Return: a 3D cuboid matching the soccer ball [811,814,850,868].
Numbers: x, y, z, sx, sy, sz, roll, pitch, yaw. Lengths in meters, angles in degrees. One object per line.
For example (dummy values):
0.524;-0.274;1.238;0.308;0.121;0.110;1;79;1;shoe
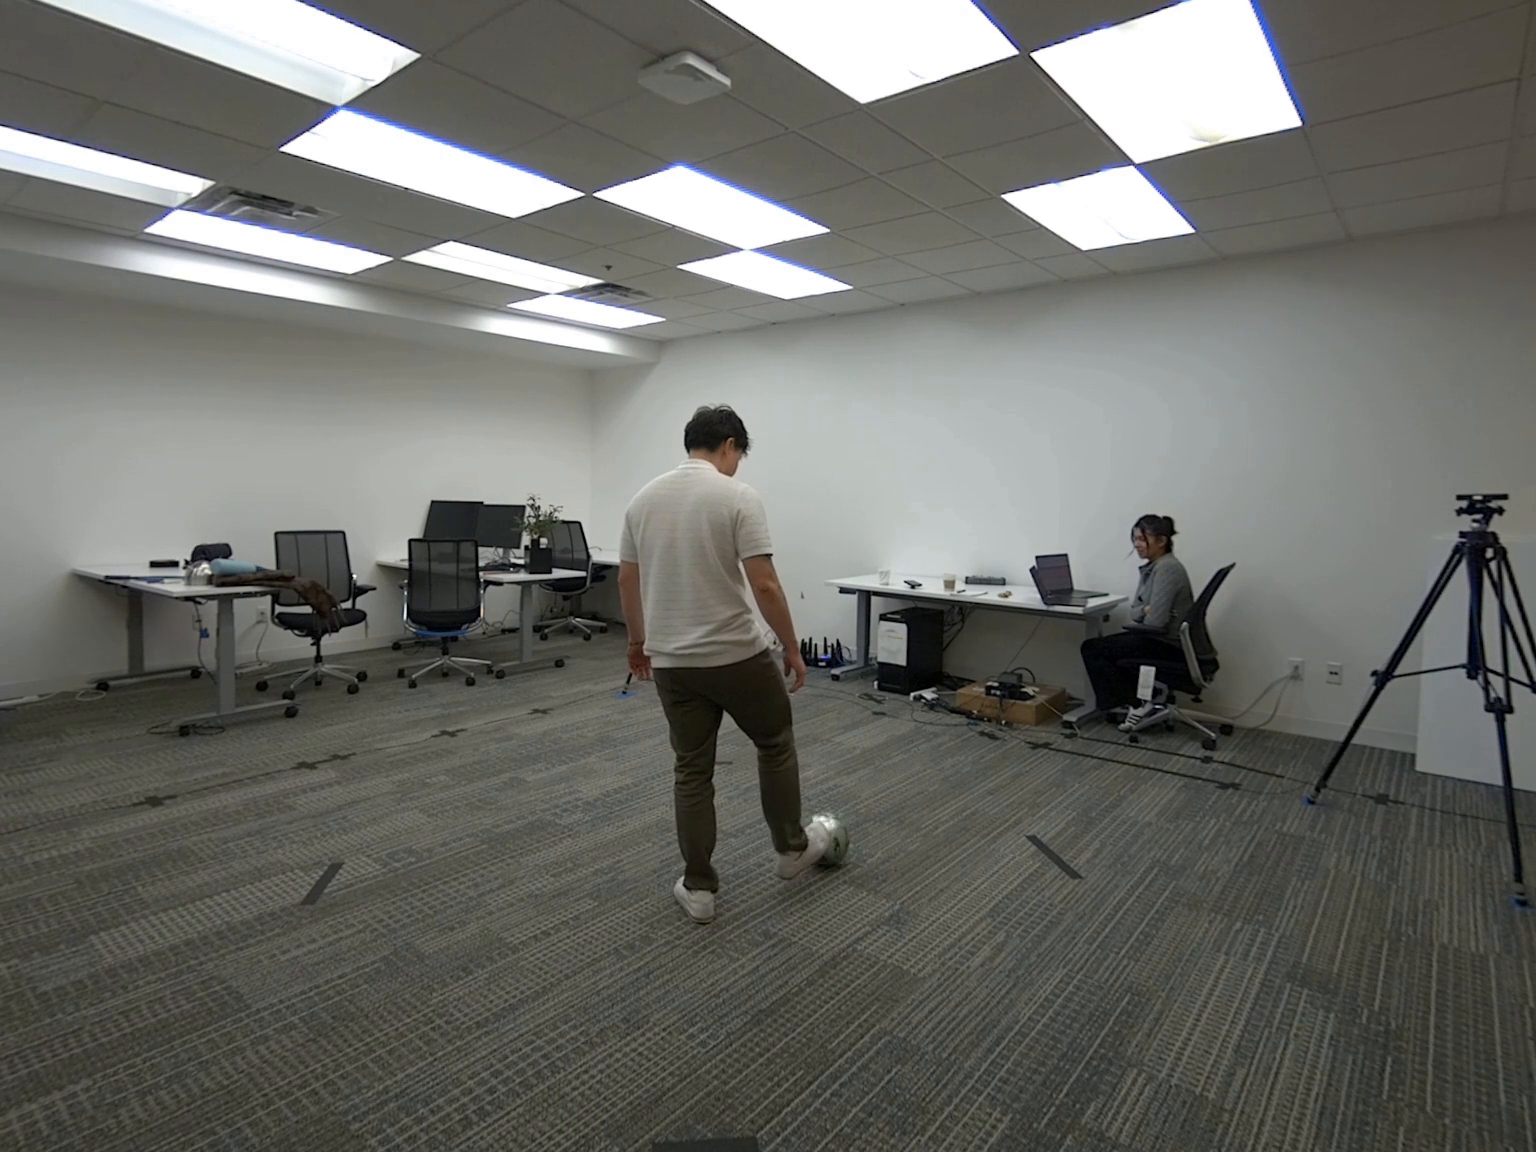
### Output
0.204;0.975;3.160;0.187;0.187;0.188;1;4;-2;soccer ball
